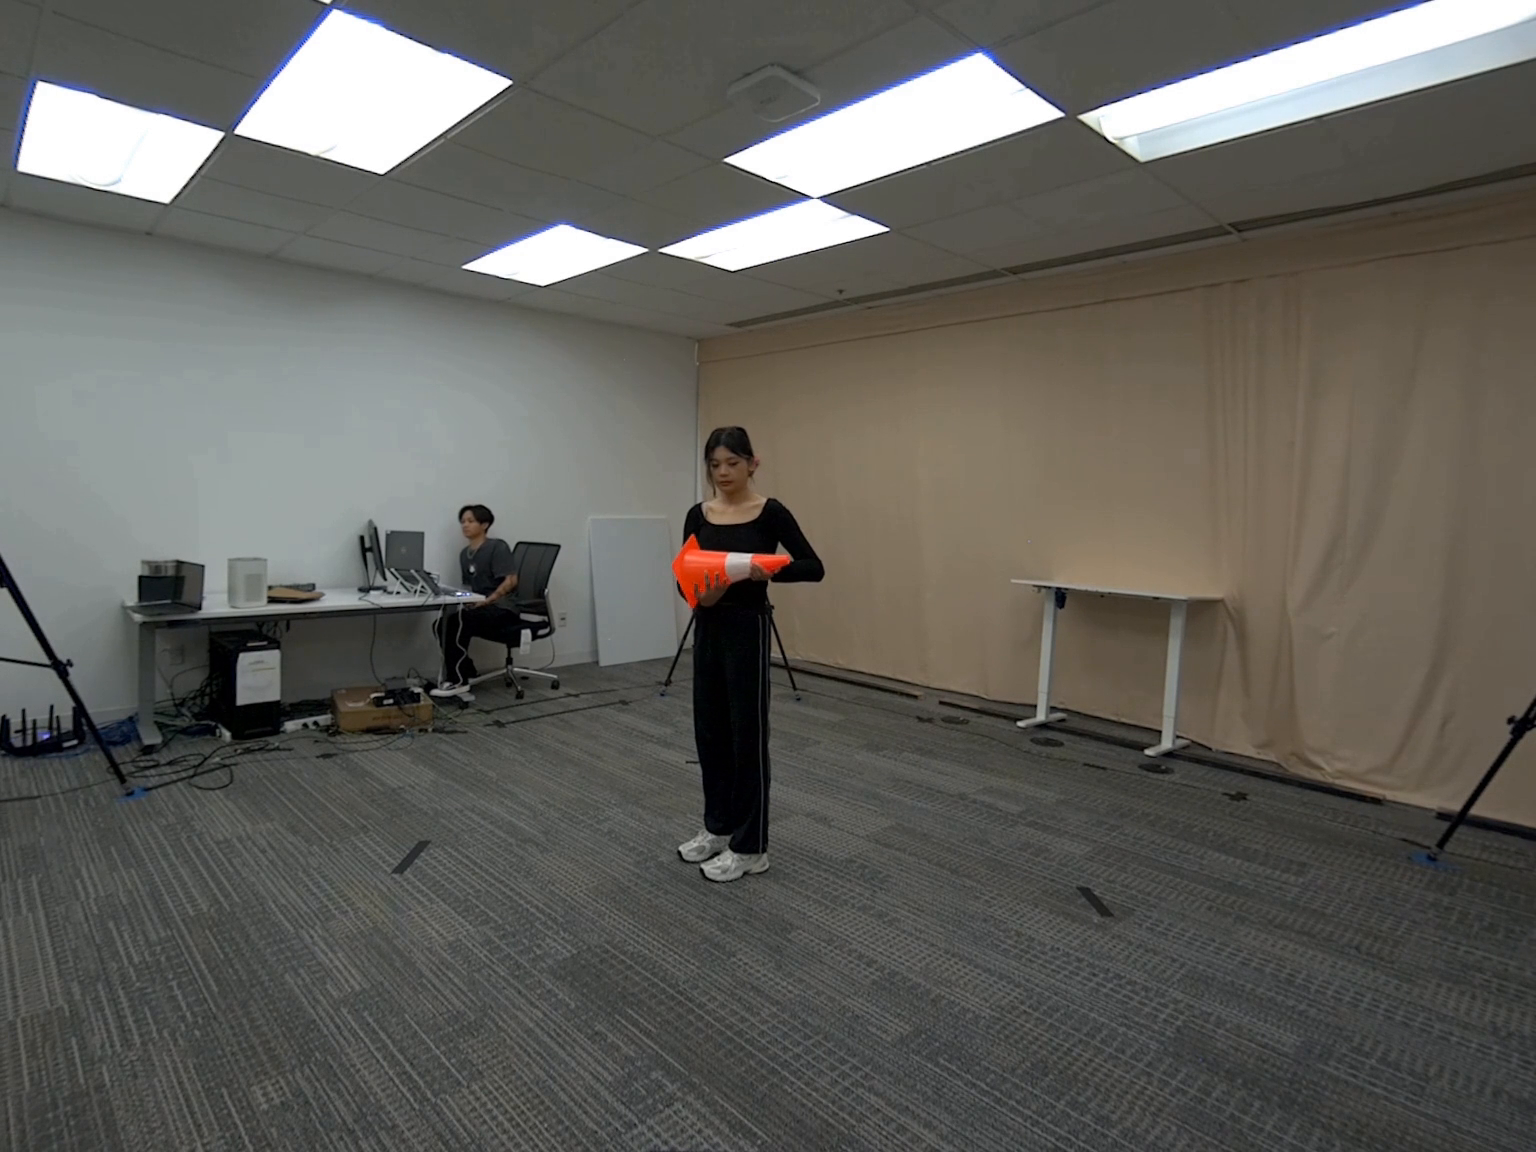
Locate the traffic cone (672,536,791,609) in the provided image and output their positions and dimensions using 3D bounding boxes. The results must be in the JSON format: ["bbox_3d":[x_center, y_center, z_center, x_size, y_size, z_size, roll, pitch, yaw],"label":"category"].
[{"bbox_3d":[-0.106,-0.032,2.910,0.390,0.198,0.206,-6,33,27],"label":"traffic cone"}]
